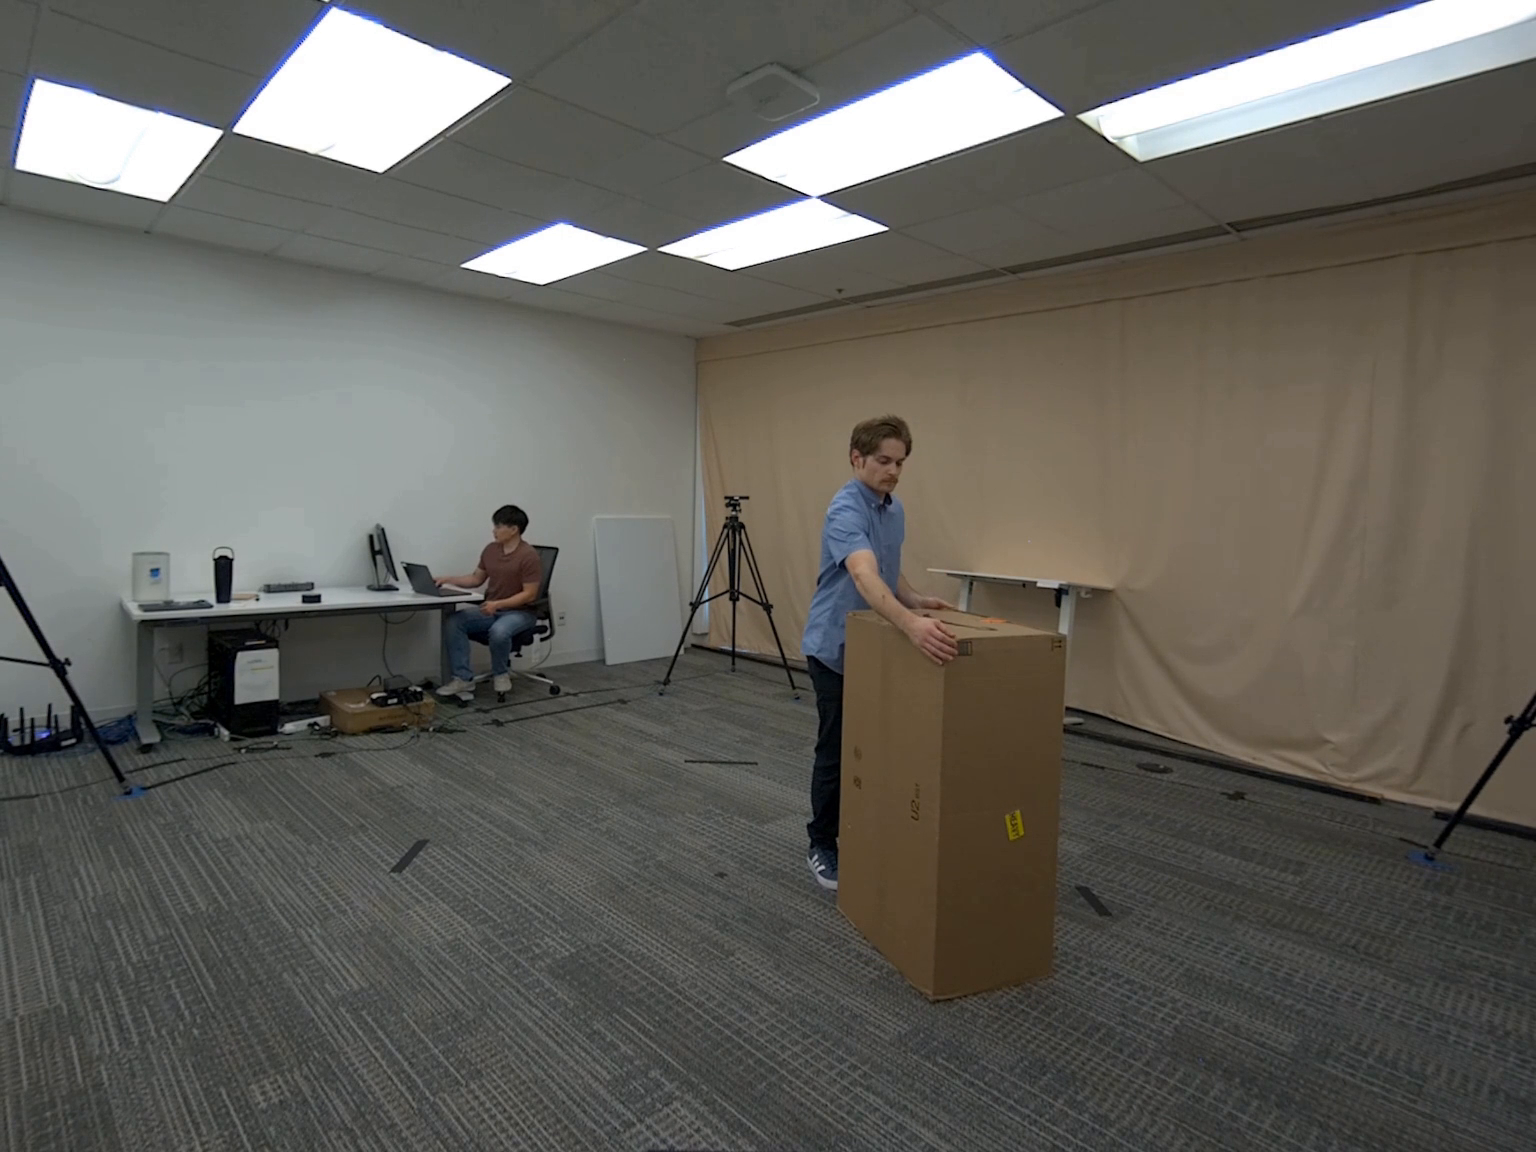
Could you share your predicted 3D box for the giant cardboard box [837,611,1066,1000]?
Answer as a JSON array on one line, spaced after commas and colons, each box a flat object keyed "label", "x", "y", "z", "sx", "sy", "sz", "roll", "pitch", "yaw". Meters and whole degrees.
[{"label": "giant cardboard box", "x": 0.552, "y": 0.653, "z": 2.652, "sx": 0.419, "sy": 1.023, "sz": 0.588, "roll": 0, "pitch": 4, "yaw": -22}]
